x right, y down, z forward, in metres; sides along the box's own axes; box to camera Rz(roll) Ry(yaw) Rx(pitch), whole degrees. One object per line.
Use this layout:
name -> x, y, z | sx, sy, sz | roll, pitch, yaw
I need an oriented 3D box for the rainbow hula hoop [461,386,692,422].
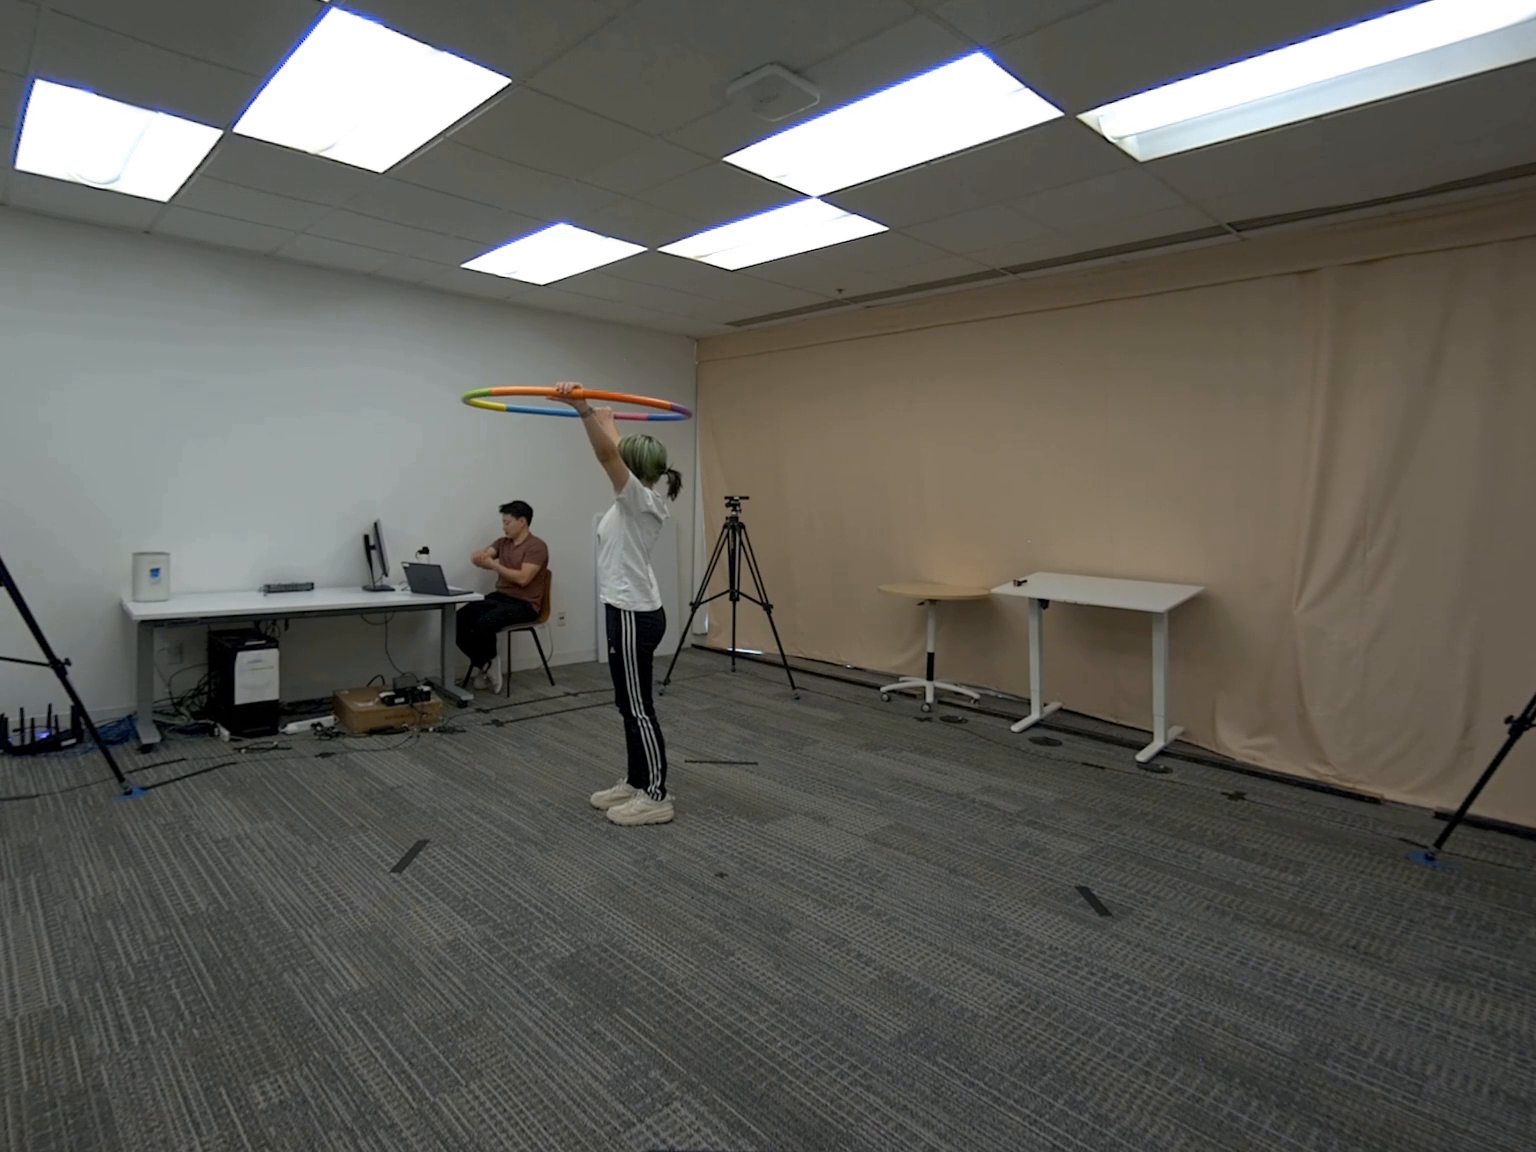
rainbow hula hoop -> -0.809, -0.727, 3.598 | 0.985, 0.051, 0.989 | 3, 6, -2
